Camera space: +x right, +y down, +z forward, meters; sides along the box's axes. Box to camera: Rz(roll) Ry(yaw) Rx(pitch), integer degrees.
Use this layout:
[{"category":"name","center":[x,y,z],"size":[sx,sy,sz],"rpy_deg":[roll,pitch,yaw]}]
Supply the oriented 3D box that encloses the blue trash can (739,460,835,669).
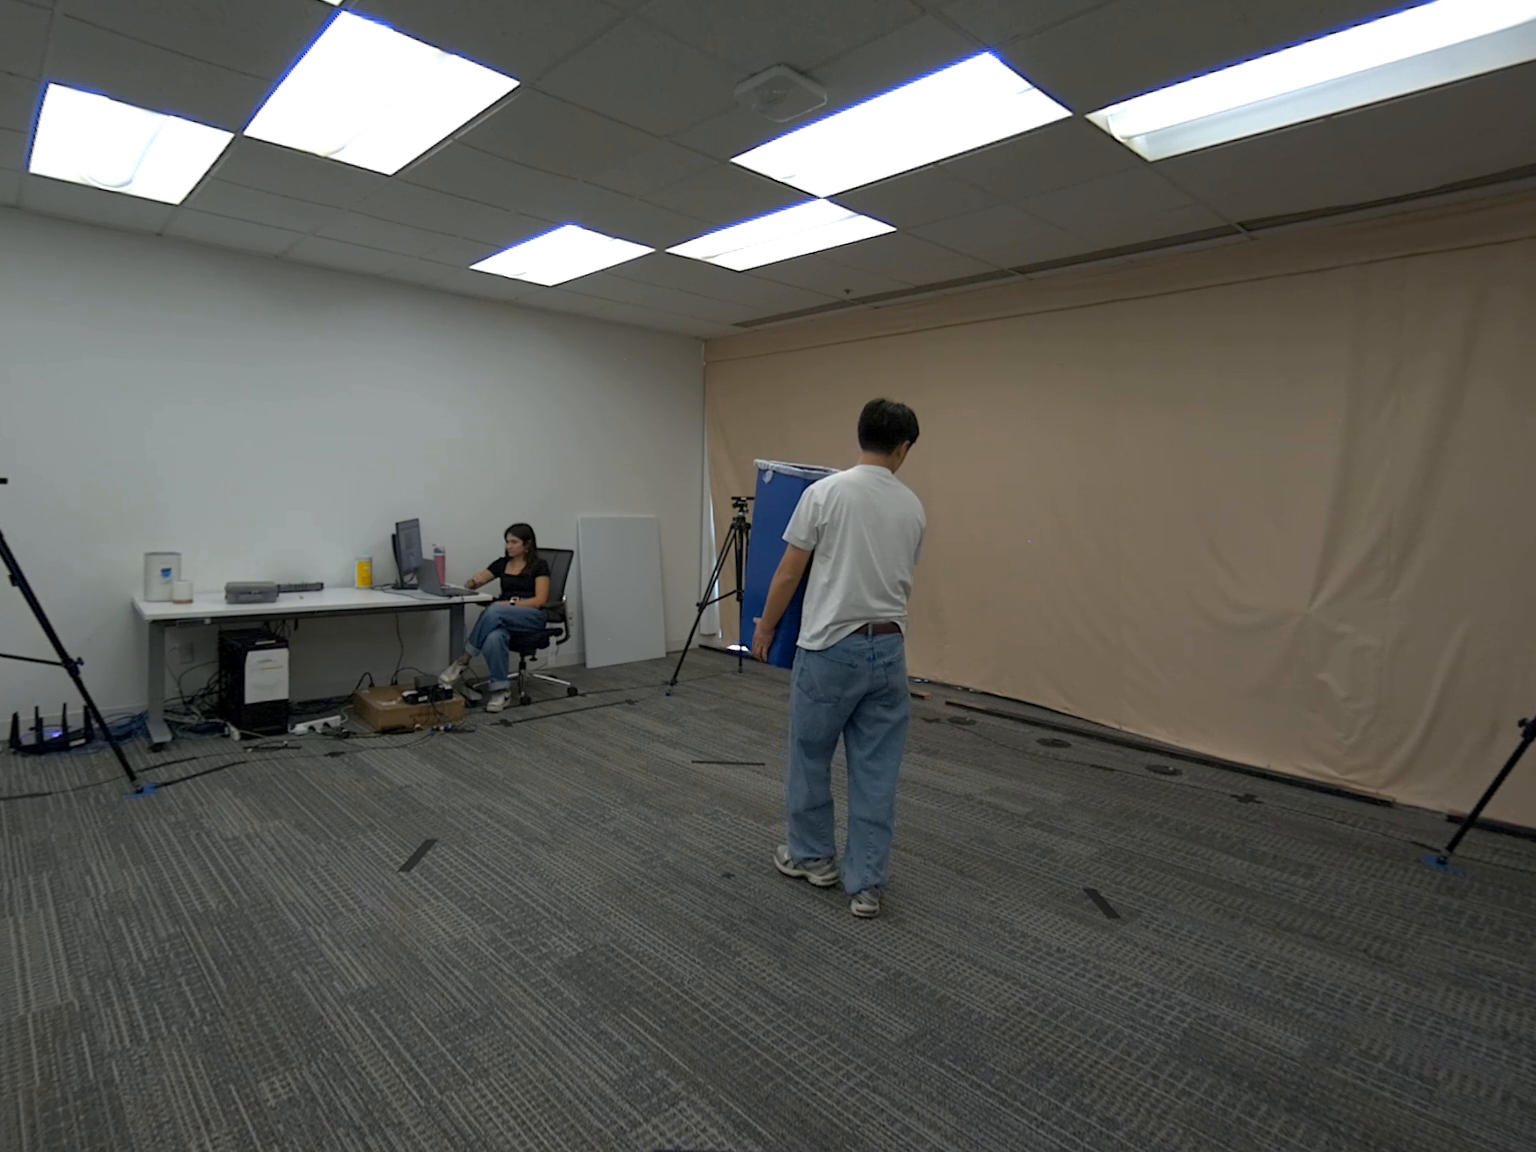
[{"category":"blue trash can","center":[0.126,-0.049,3.181],"size":[0.366,0.709,0.389],"rpy_deg":[2,11,-32]}]
